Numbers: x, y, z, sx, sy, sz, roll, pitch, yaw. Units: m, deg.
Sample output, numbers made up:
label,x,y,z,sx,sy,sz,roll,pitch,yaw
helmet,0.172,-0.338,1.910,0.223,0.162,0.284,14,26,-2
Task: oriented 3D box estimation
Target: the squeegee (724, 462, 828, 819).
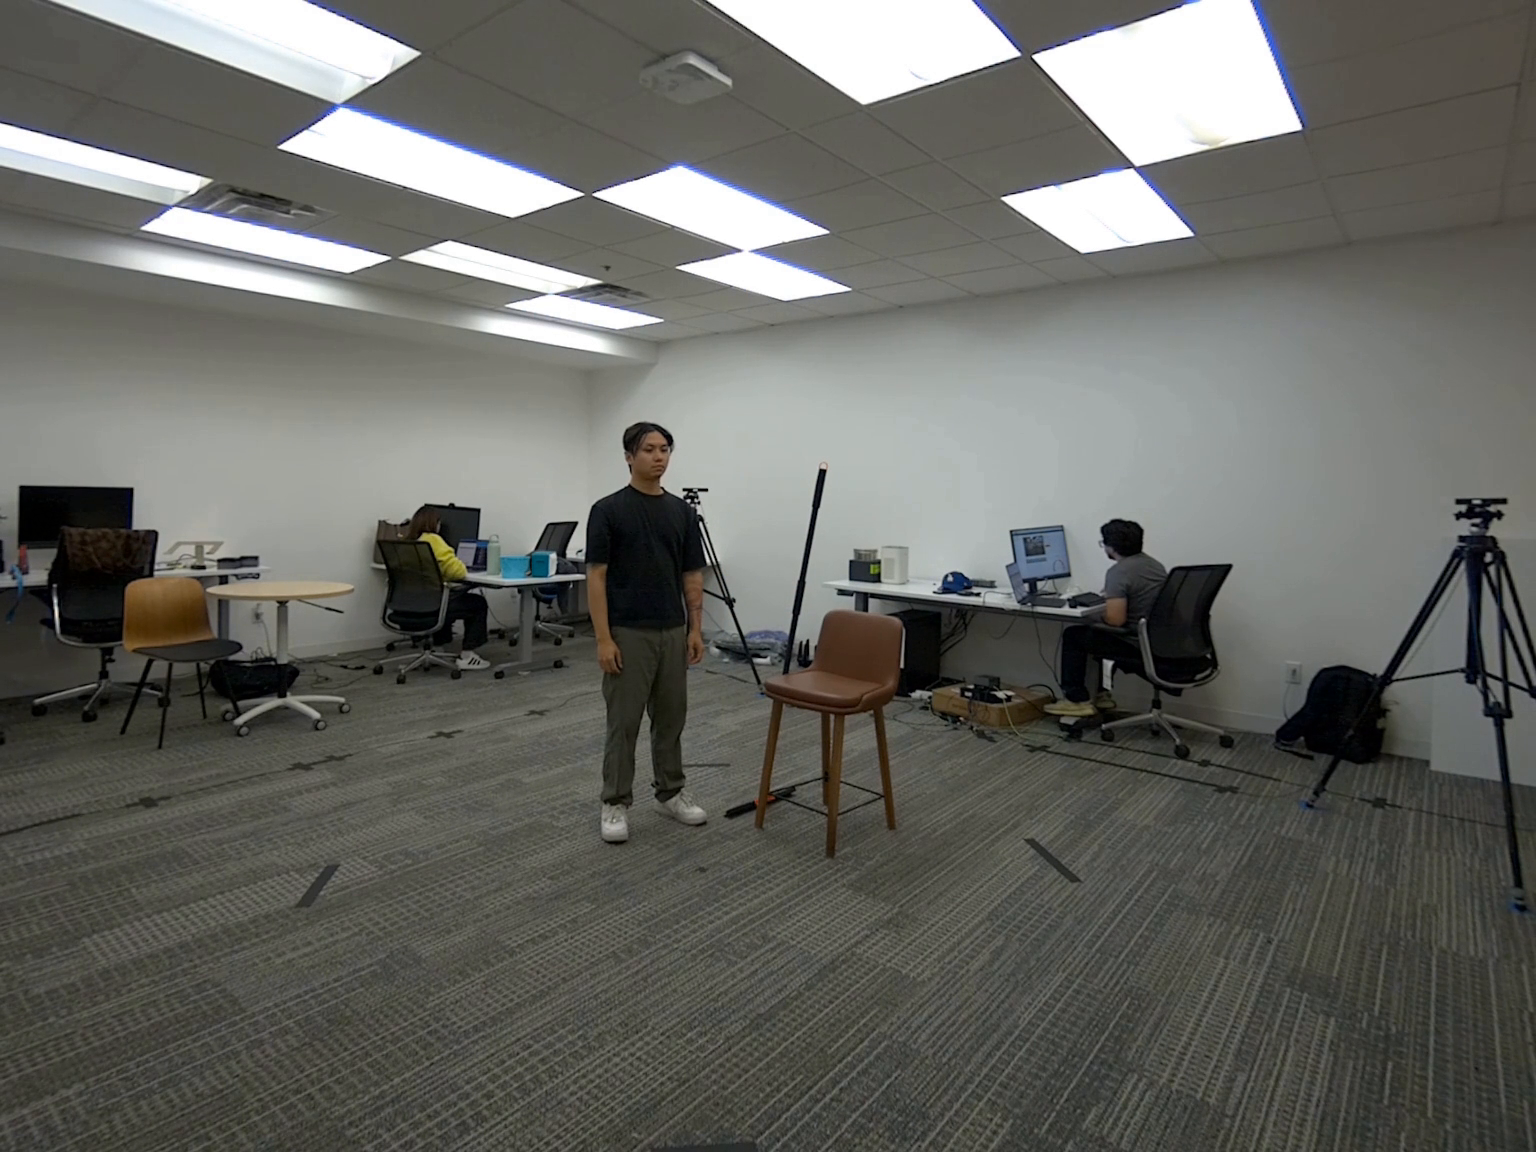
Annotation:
label,x,y,z,sx,sy,sz,roll,pitch,yaw
squeegee,0.090,0.266,3.621,0.424,1.529,0.055,4,8,-34
